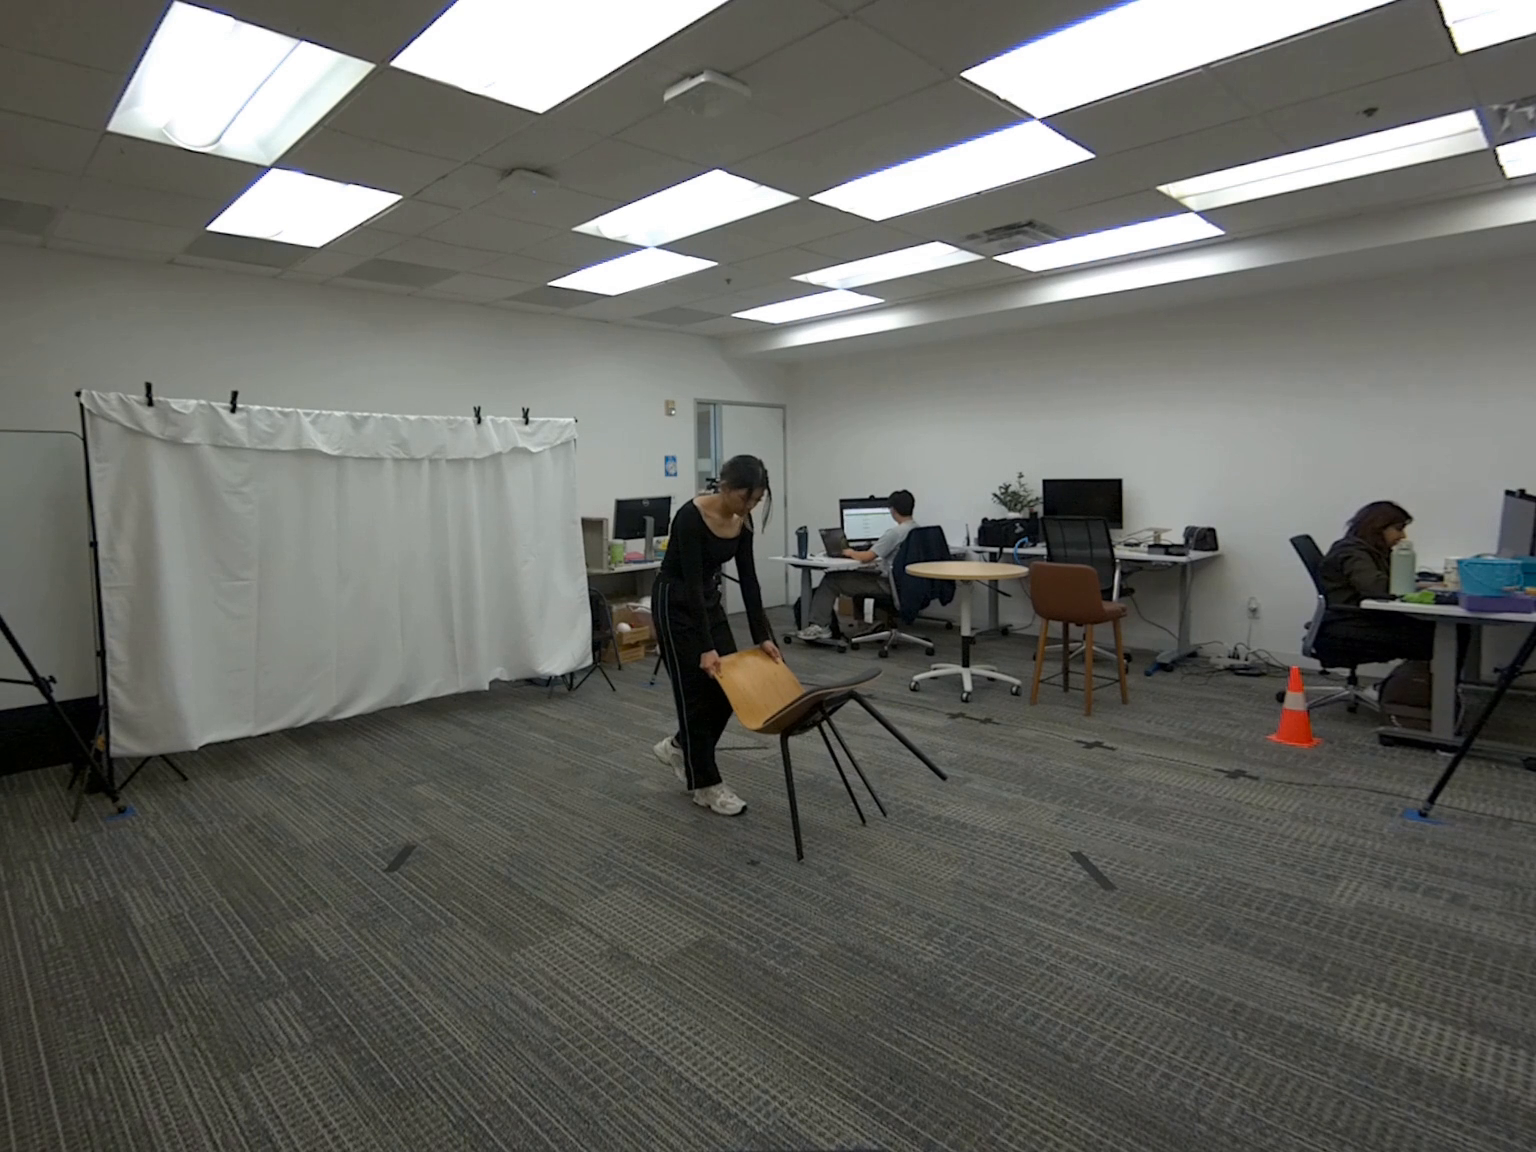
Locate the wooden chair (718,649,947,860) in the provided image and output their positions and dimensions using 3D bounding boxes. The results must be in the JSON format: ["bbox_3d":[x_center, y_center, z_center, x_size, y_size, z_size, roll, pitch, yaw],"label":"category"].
[{"bbox_3d":[0.192,0.530,3.273,0.465,0.901,0.523,-5,-34,-49],"label":"wooden chair"}]
